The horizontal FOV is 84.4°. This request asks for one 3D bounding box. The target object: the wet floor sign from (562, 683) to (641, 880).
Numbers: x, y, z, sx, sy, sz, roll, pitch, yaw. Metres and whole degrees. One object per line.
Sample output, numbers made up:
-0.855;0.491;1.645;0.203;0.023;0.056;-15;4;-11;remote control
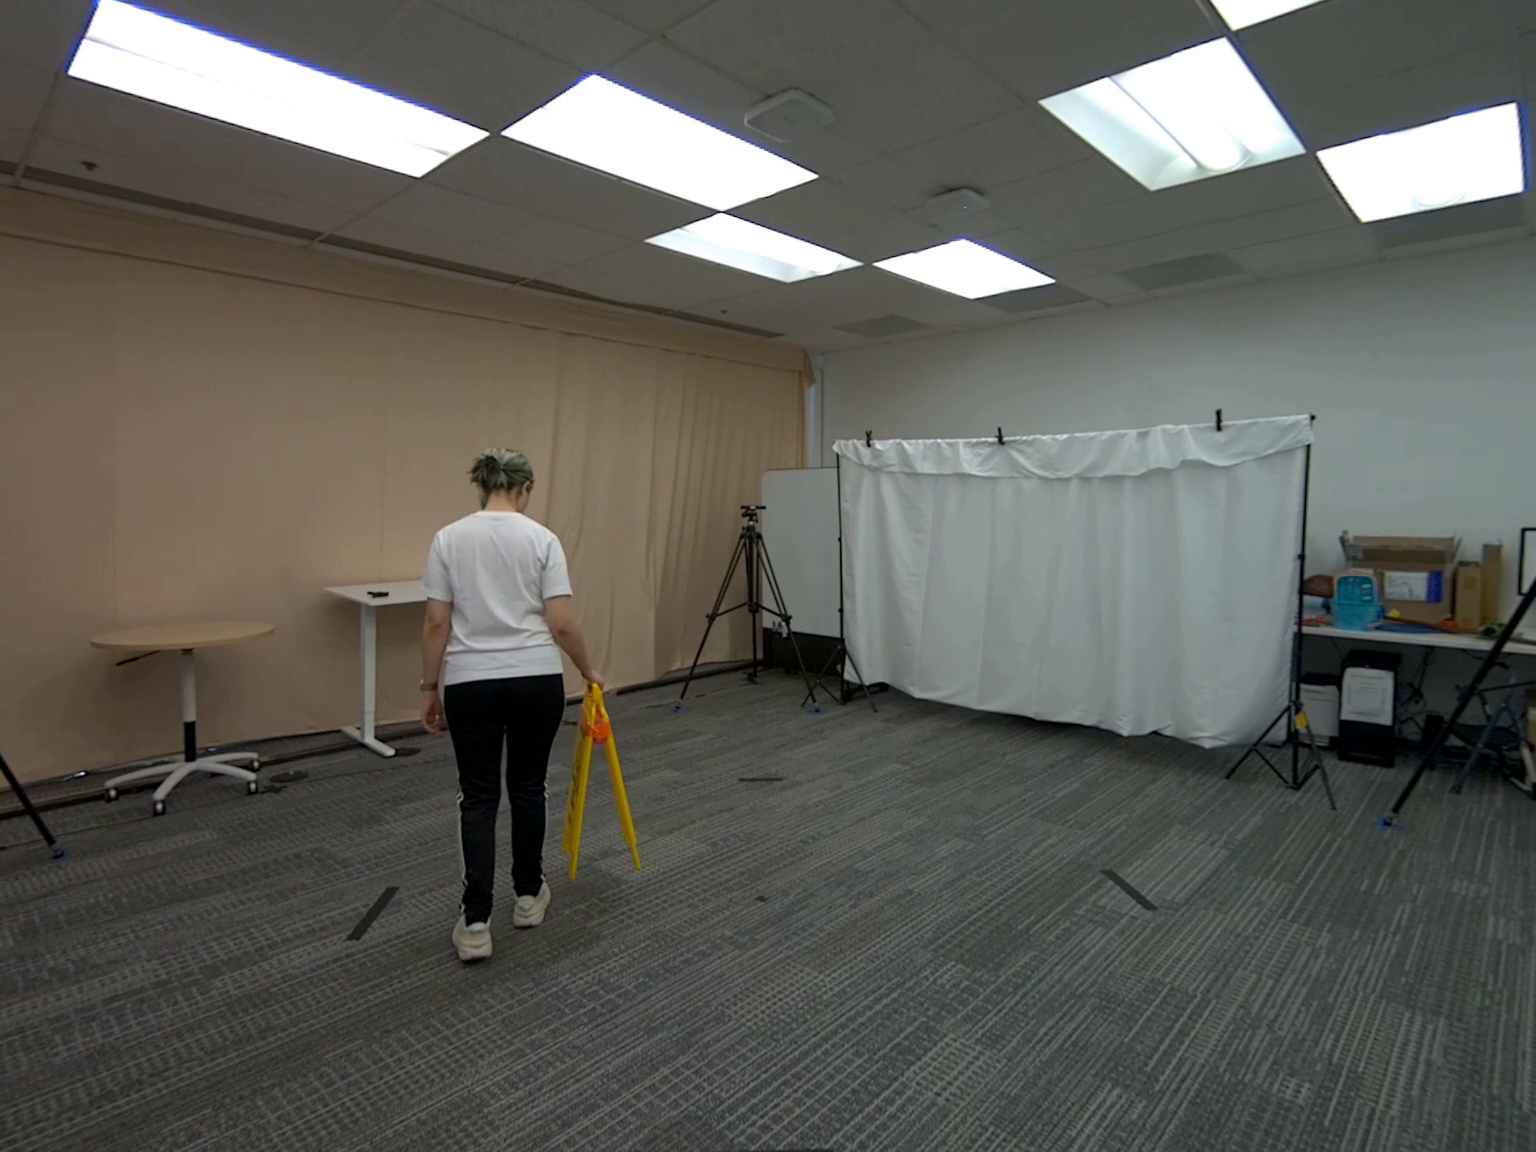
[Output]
-0.601;0.684;2.953;0.285;0.643;0.288;-1;6;-16;wet floor sign
